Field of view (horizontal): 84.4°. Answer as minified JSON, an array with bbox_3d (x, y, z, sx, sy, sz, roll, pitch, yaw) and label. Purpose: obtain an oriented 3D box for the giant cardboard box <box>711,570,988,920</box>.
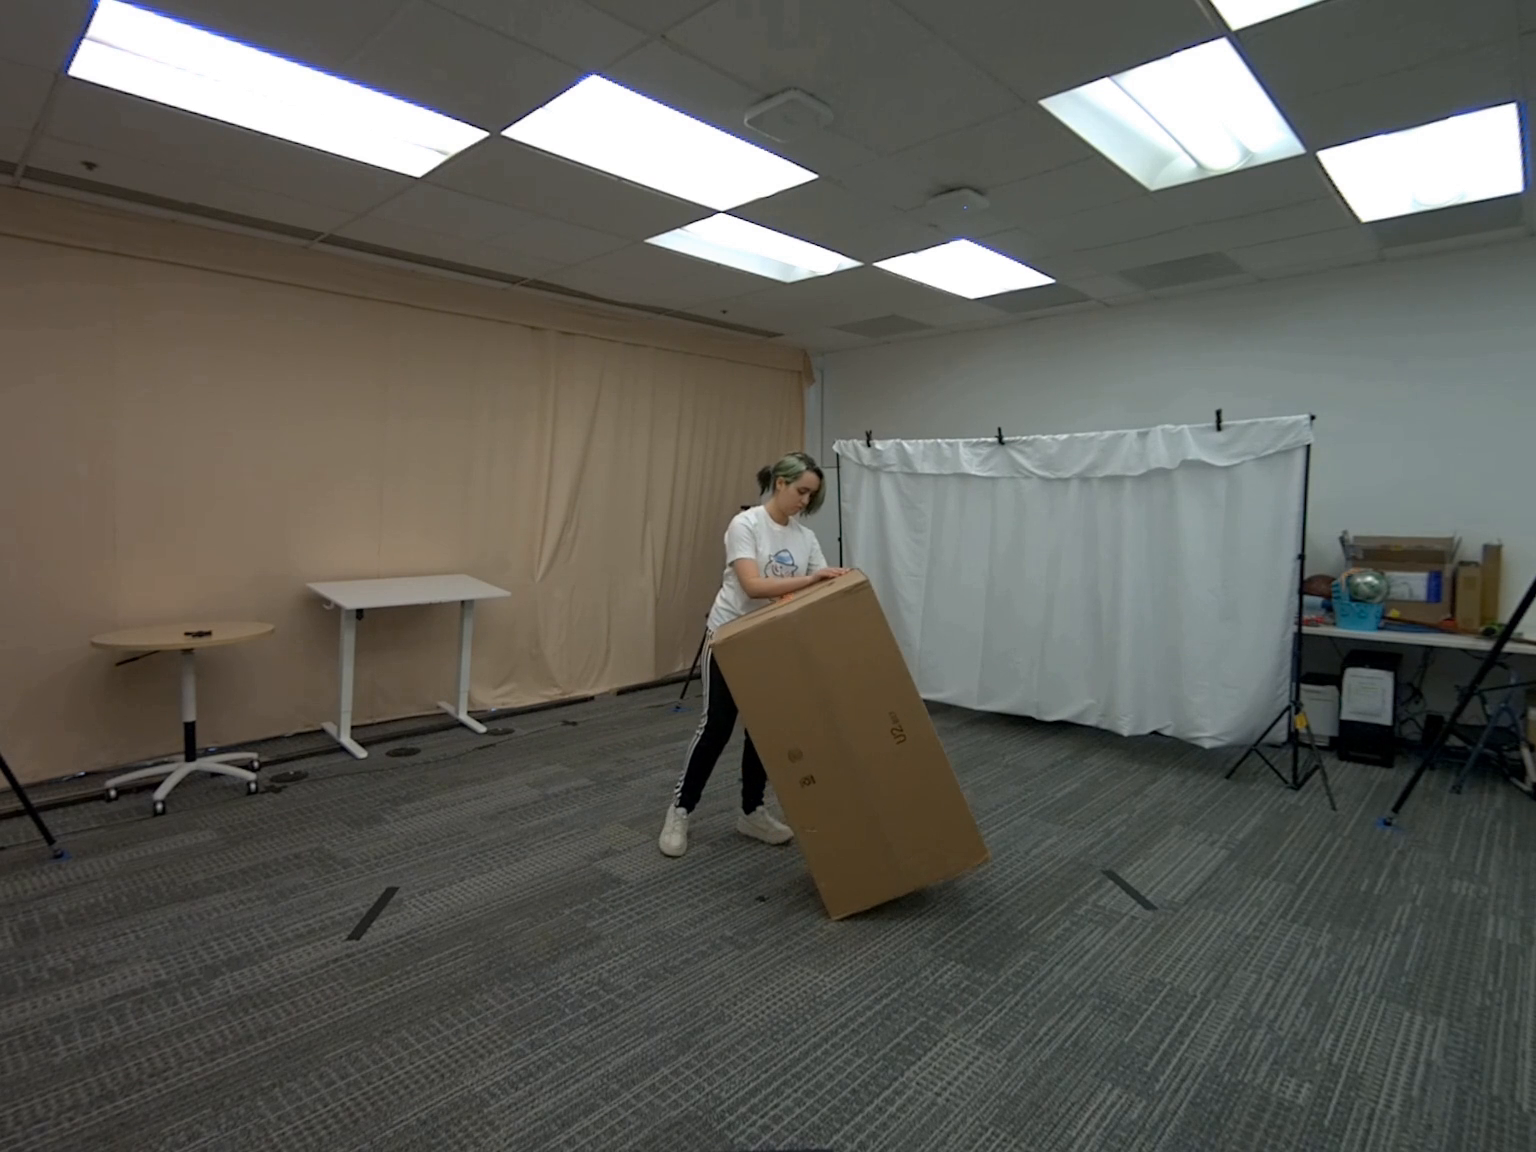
[{"bbox_3d":[0.280,0.572,2.990,0.579,1.024,0.425,-24,2,4],"label":"giant cardboard box"}]
